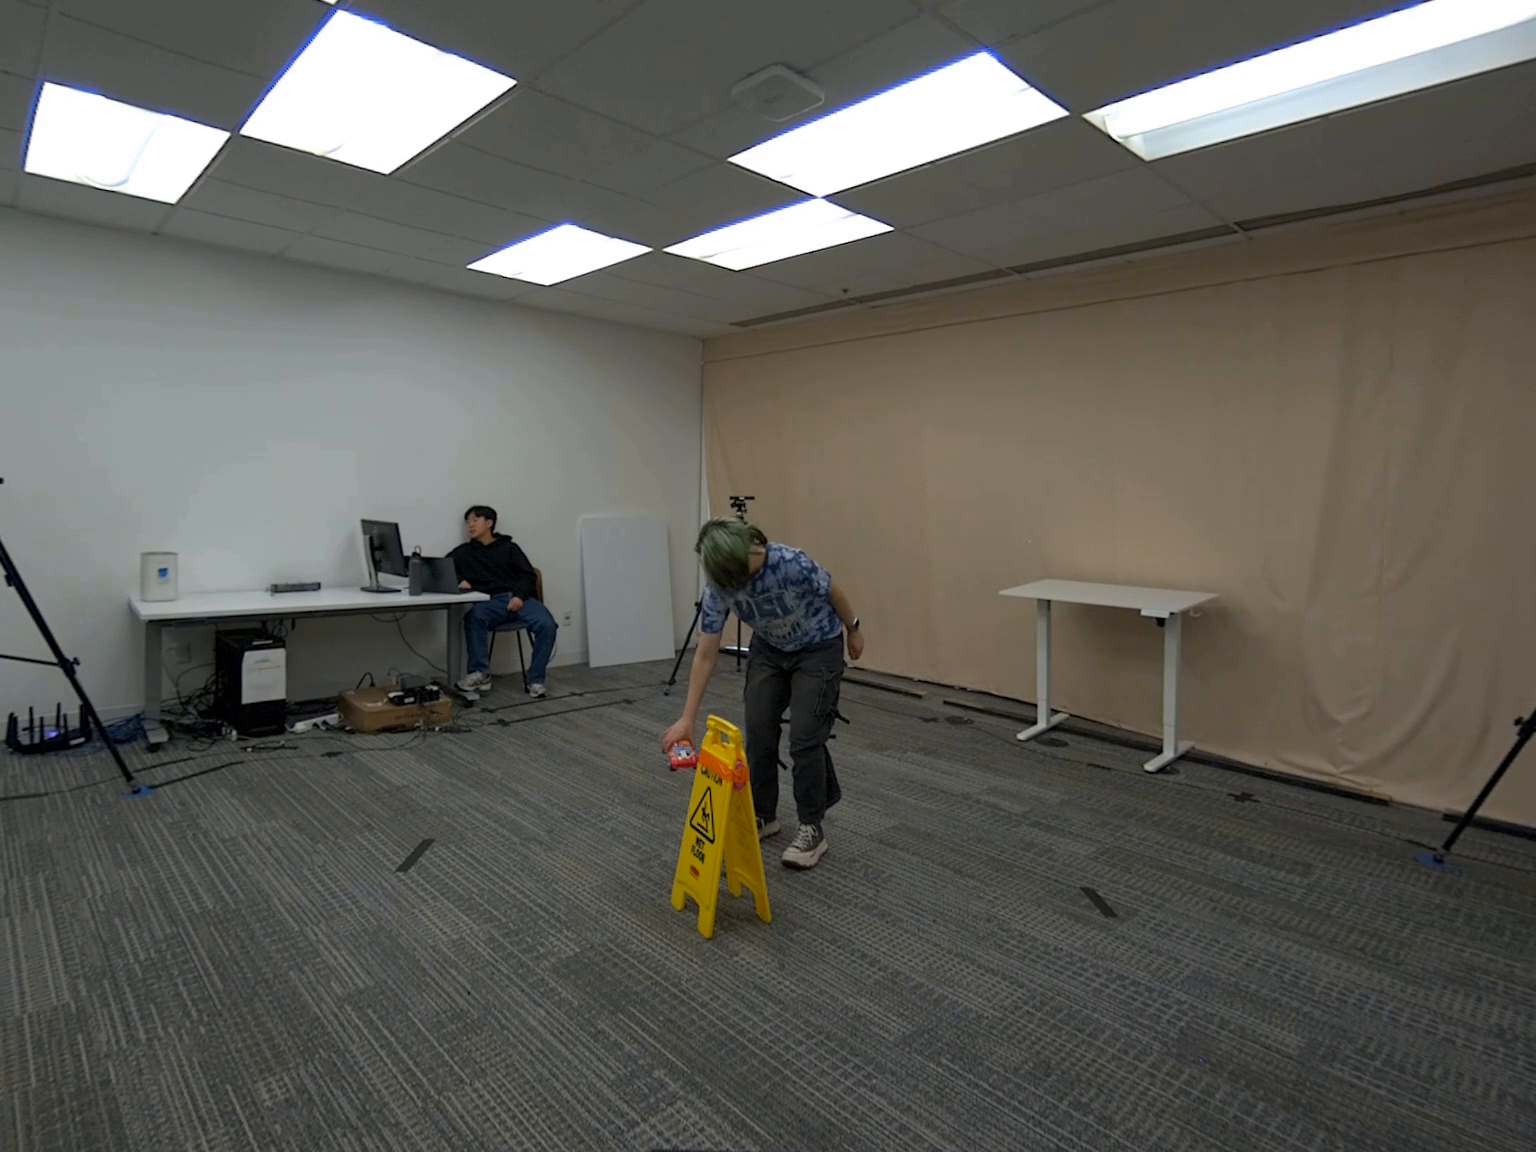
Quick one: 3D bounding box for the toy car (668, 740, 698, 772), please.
[{"bbox_3d":[-0.341,0.667,3.166,0.129,0.082,0.261,-2,23,-15],"label":"toy car"}]
